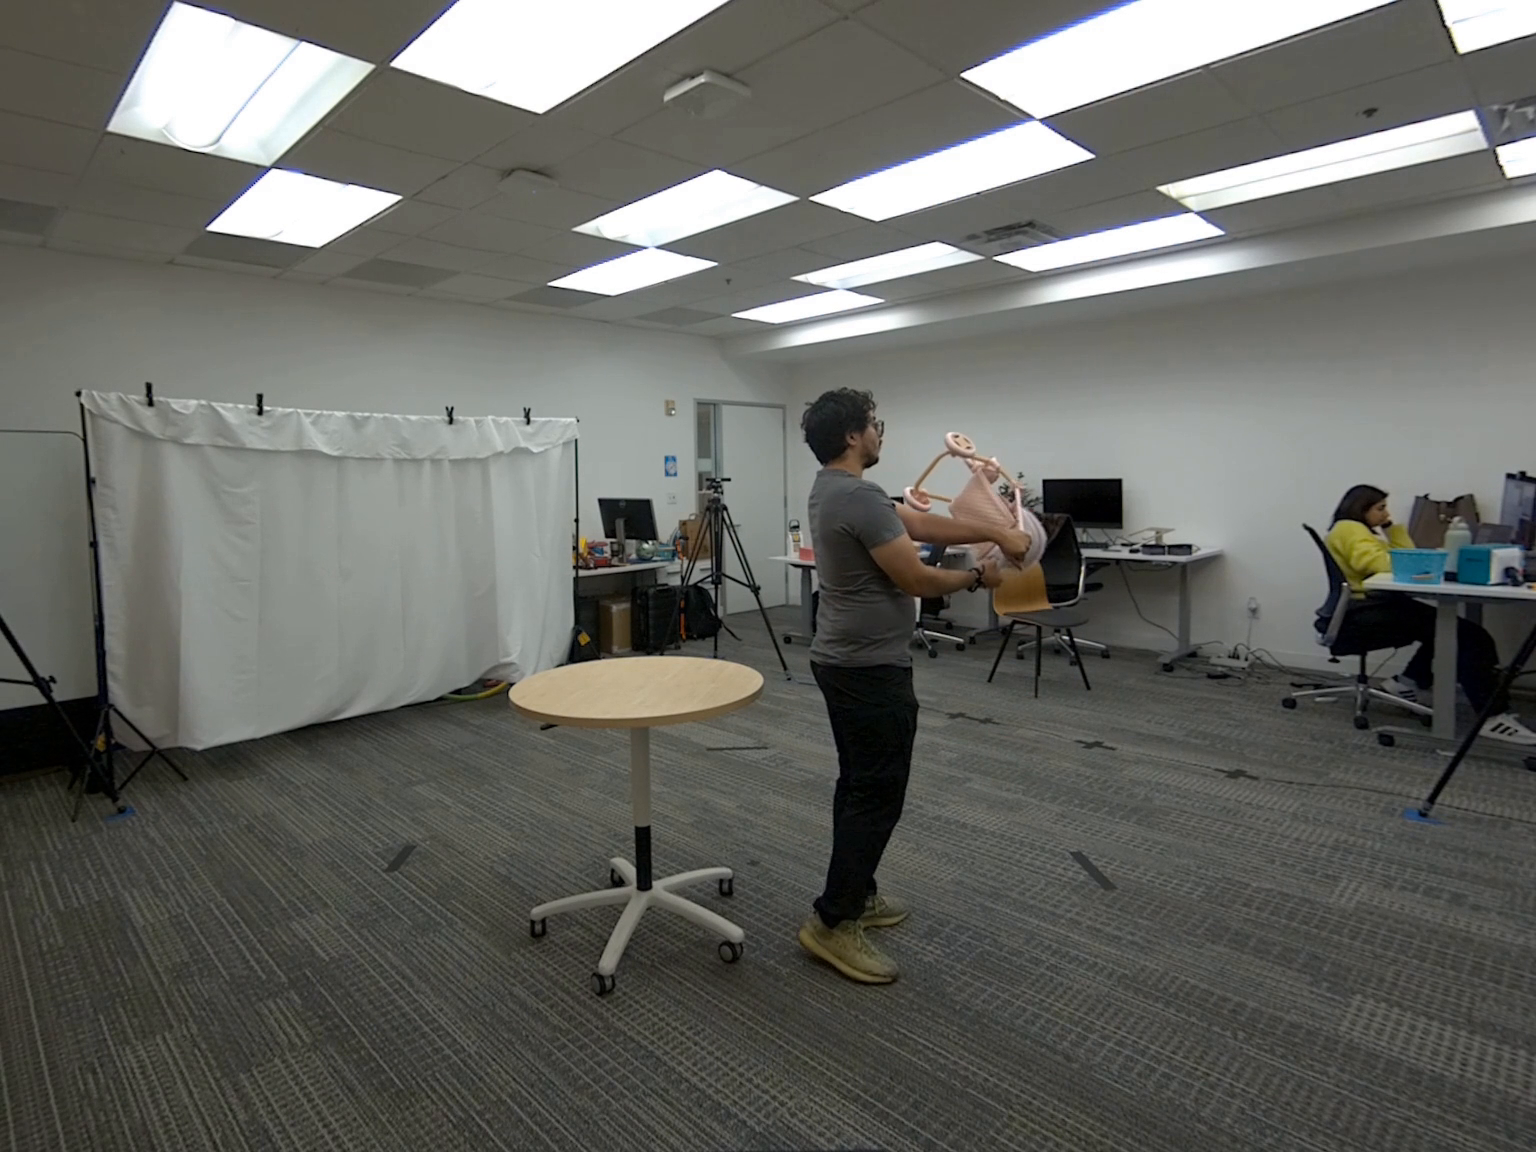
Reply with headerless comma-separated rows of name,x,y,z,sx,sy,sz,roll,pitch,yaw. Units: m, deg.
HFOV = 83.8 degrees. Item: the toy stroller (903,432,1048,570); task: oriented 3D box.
toy stroller,0.706,-0.220,2.783,0.331,0.280,0.554,4,44,-40
